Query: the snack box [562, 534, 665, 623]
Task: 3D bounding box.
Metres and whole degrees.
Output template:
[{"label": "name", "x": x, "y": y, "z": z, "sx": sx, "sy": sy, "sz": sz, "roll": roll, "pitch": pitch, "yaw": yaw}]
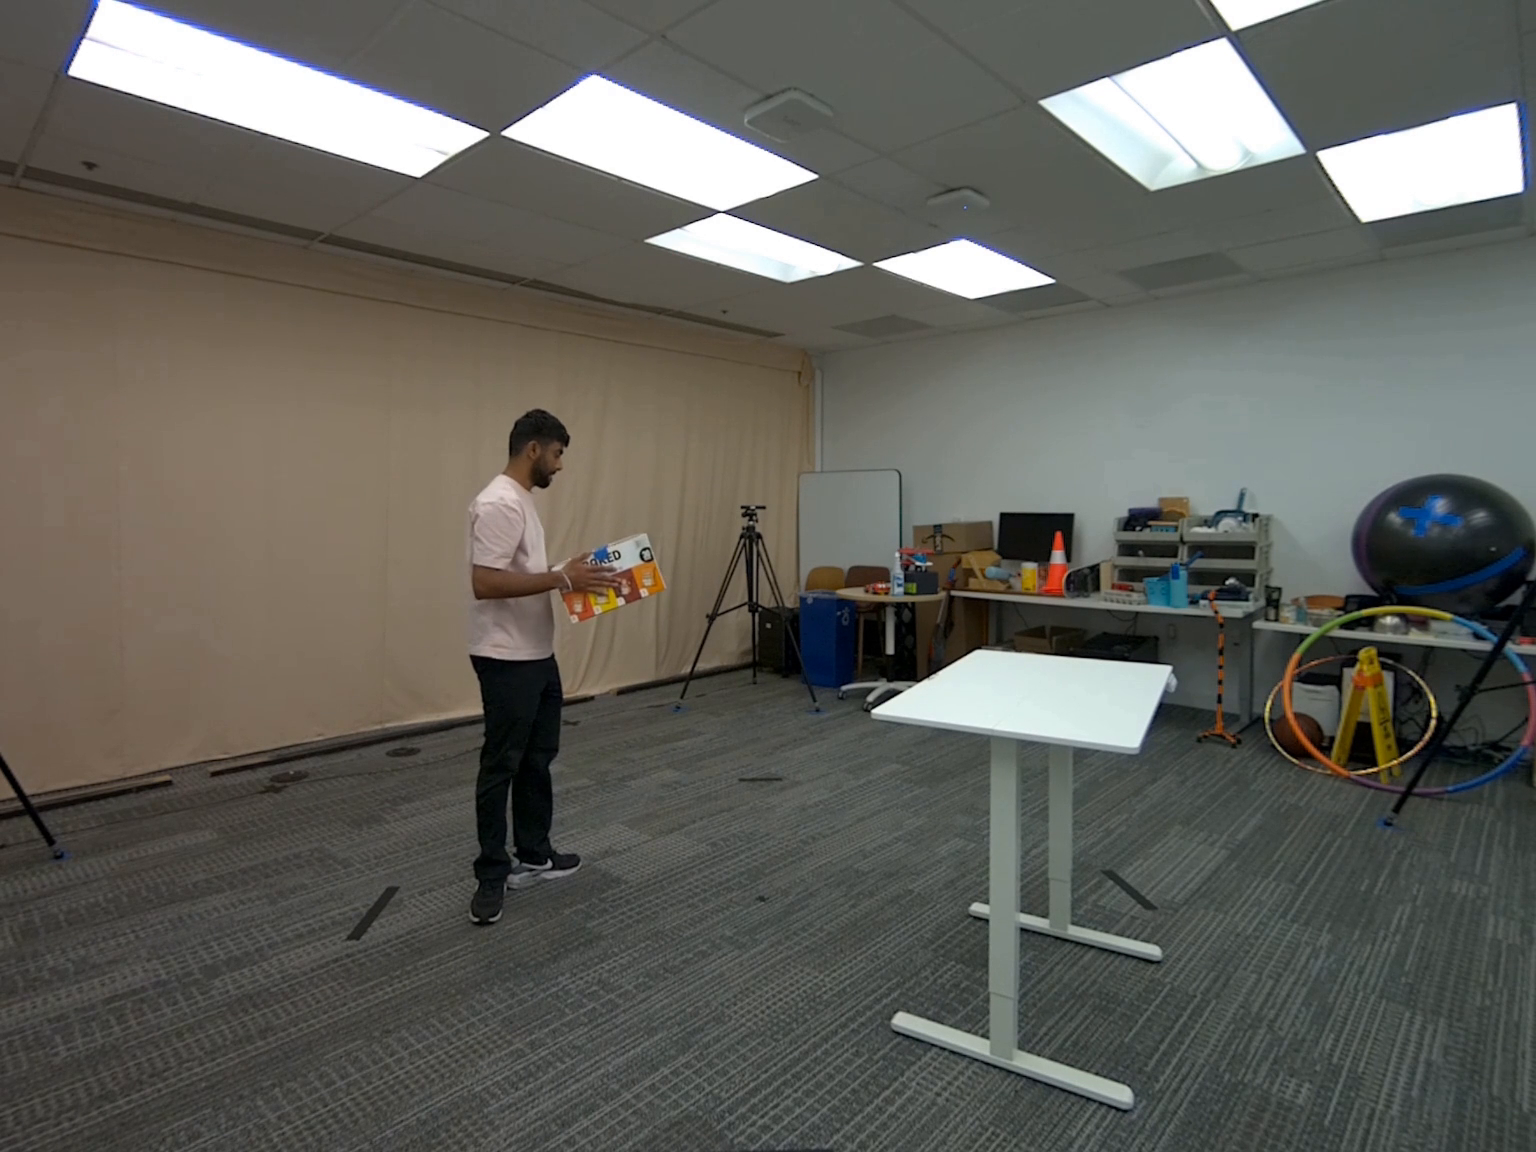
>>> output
[{"label": "snack box", "x": -0.579, "y": -0.003, "z": 3.033, "sx": 0.338, "sy": 0.205, "sz": 0.409, "roll": -20, "pitch": 6, "yaw": -8}]
